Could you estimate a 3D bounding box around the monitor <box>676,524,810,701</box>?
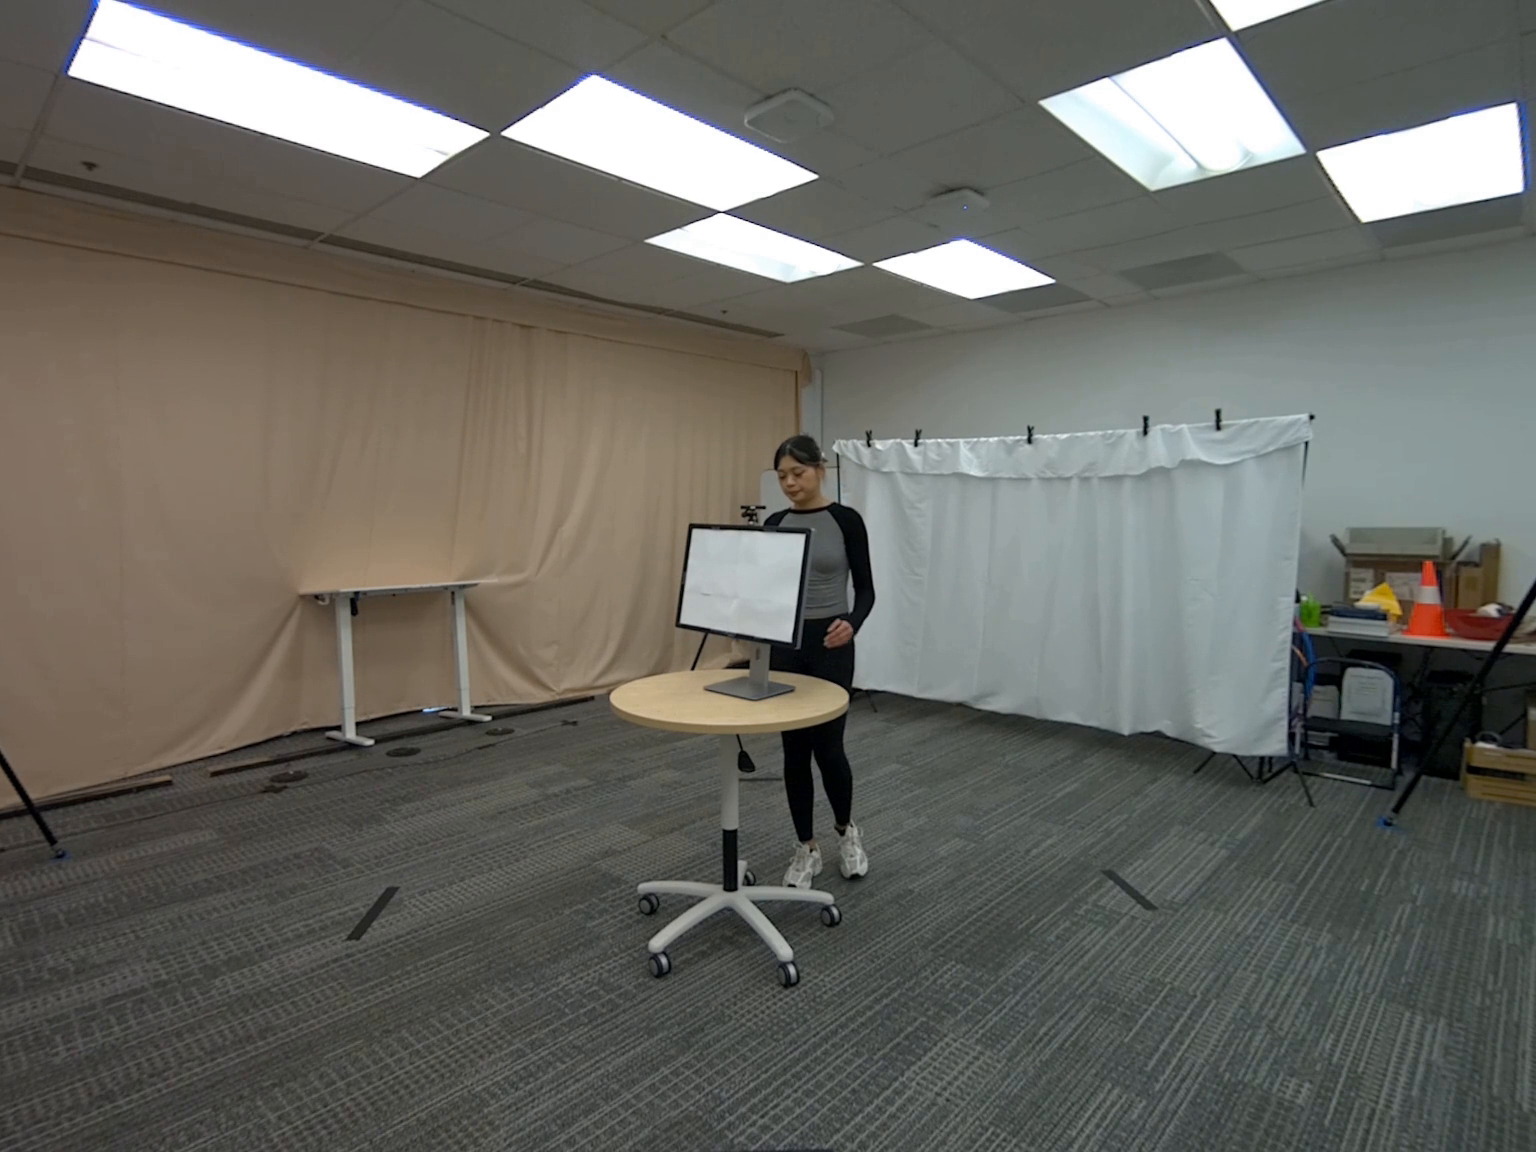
[{"bbox_3d":[-0.061,0.110,2.743,0.557,0.521,0.181,4,6,43],"label":"monitor"}]
